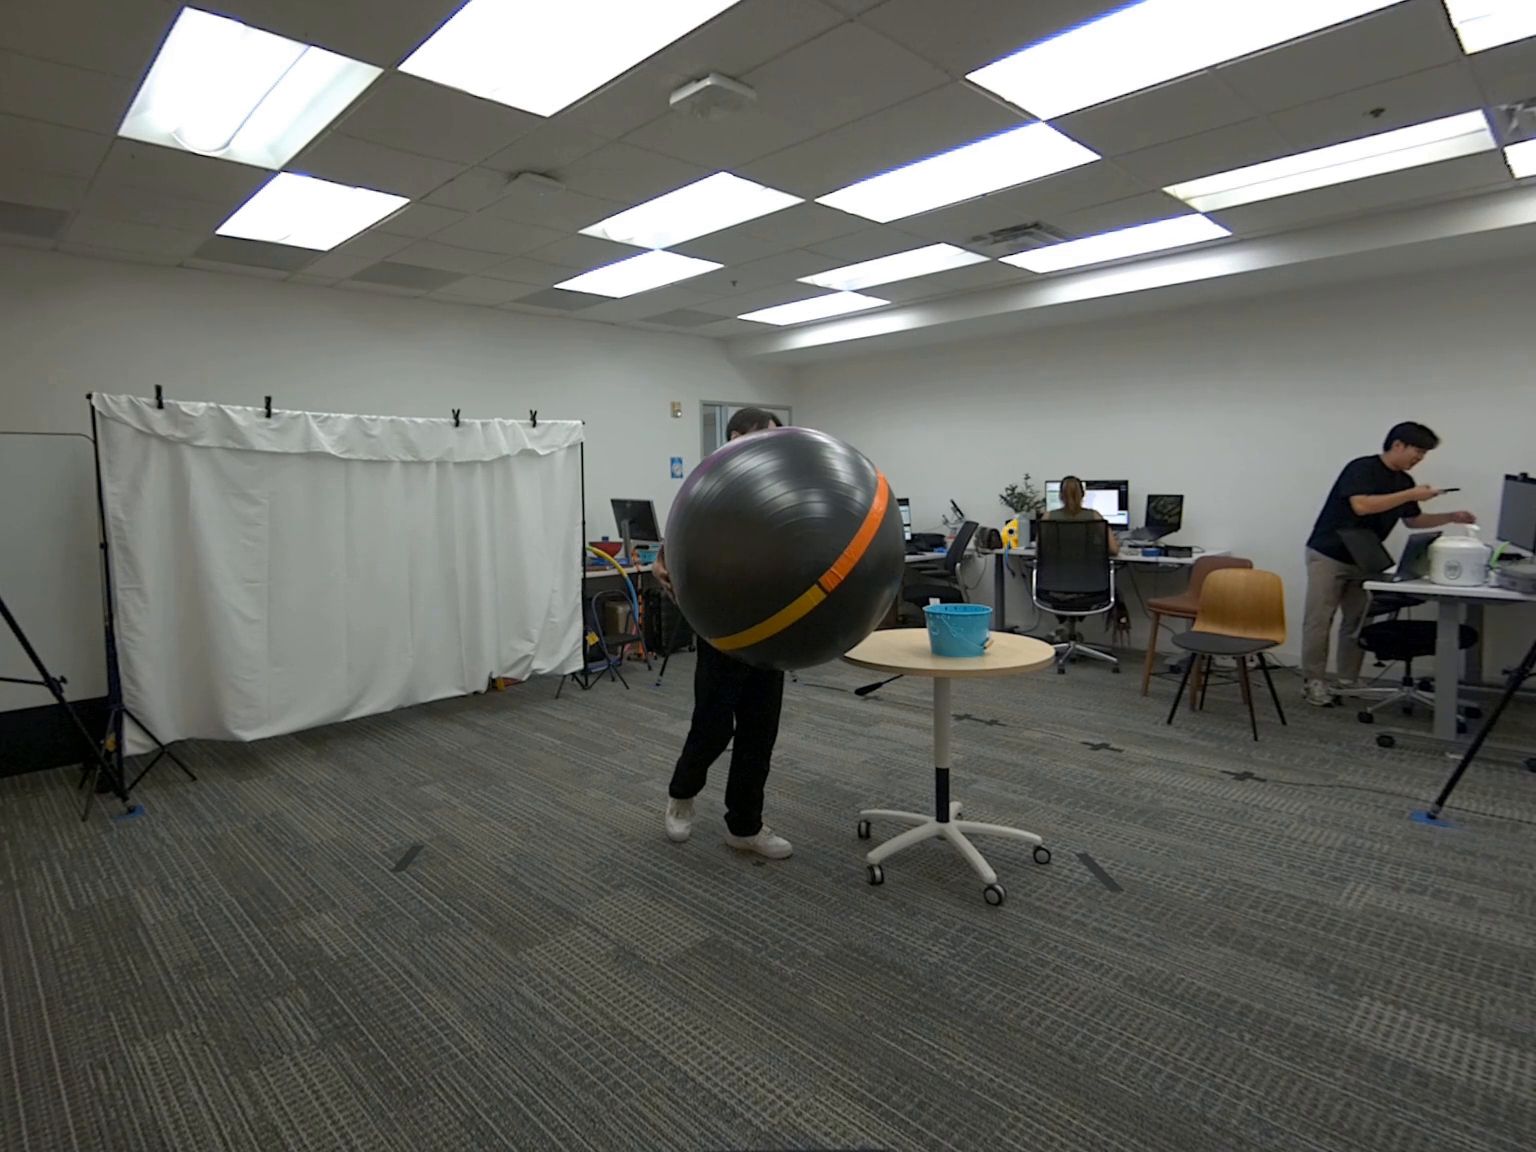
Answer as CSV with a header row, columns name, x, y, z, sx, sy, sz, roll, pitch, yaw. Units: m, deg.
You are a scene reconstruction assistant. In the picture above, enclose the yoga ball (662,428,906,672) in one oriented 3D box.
name,x,y,z,sx,sy,sz,roll,pitch,yaw
yoga ball,0.048,-0.083,2.695,0.757,0.755,0.762,-1,5,-2
